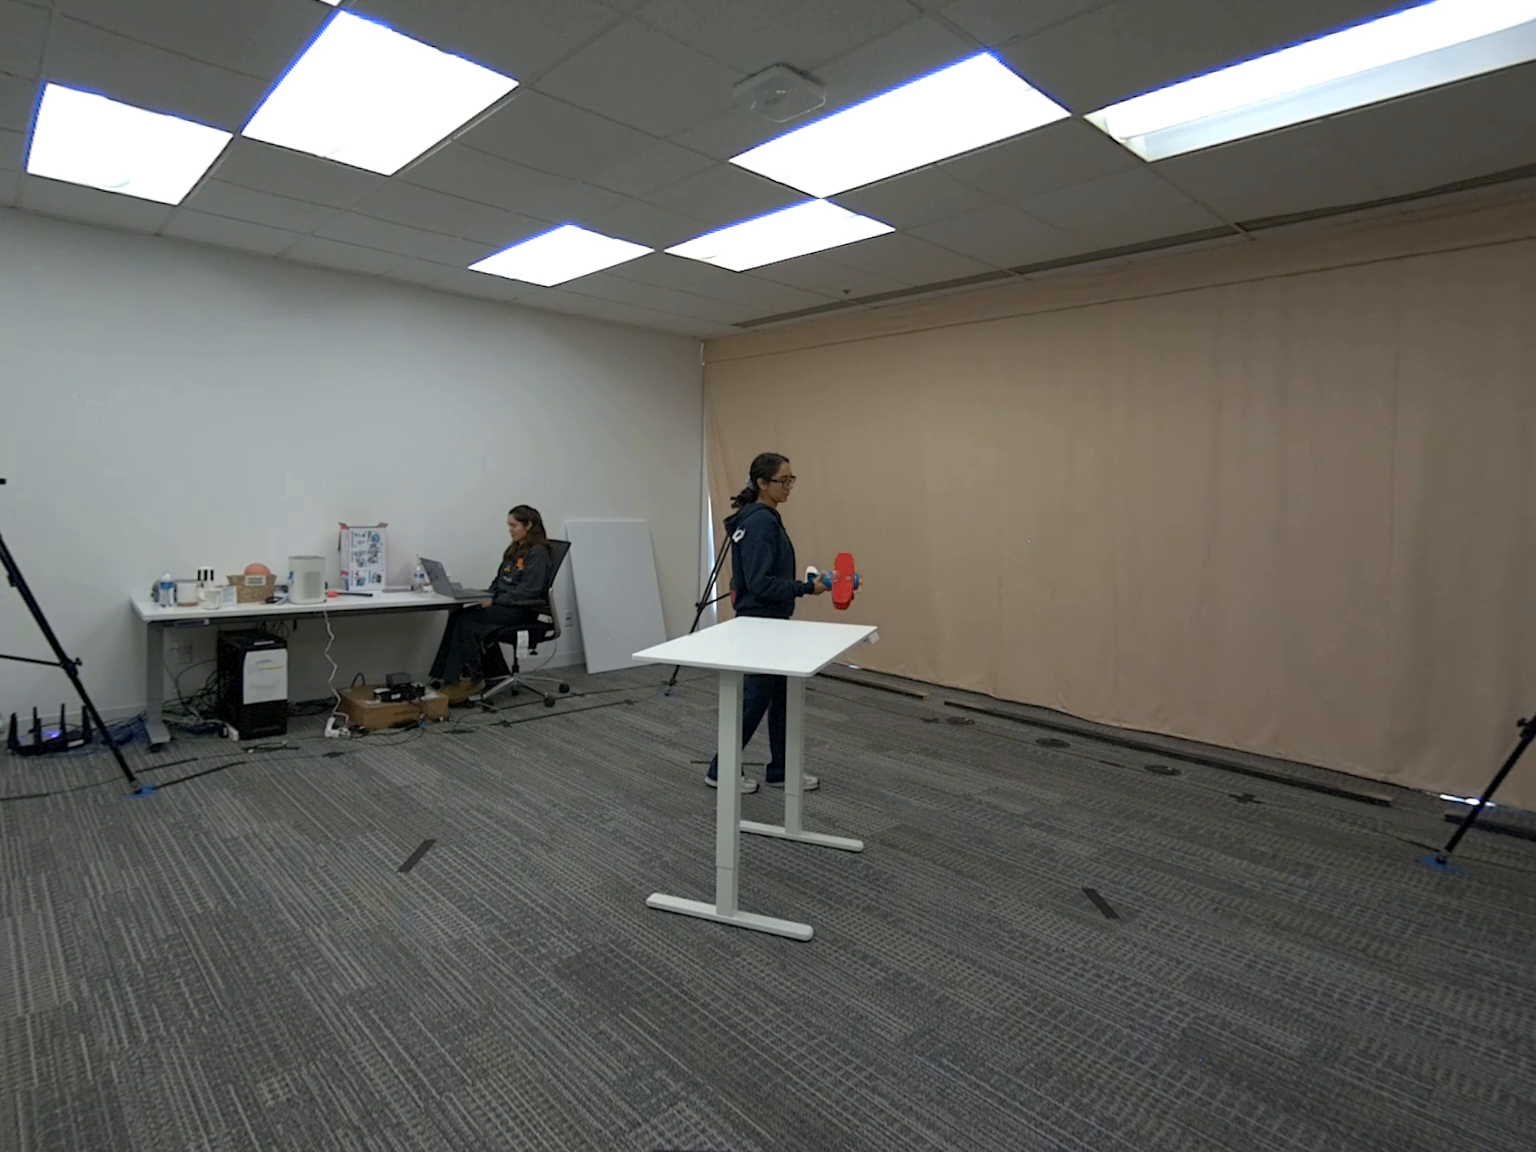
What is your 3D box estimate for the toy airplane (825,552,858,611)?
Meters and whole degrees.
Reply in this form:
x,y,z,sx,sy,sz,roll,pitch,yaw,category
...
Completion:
x,y,z,sx,sy,sz,roll,pitch,yaw,category
0.288,0.037,3.896,0.257,0.255,0.155,-17,-17,-13,toy airplane
